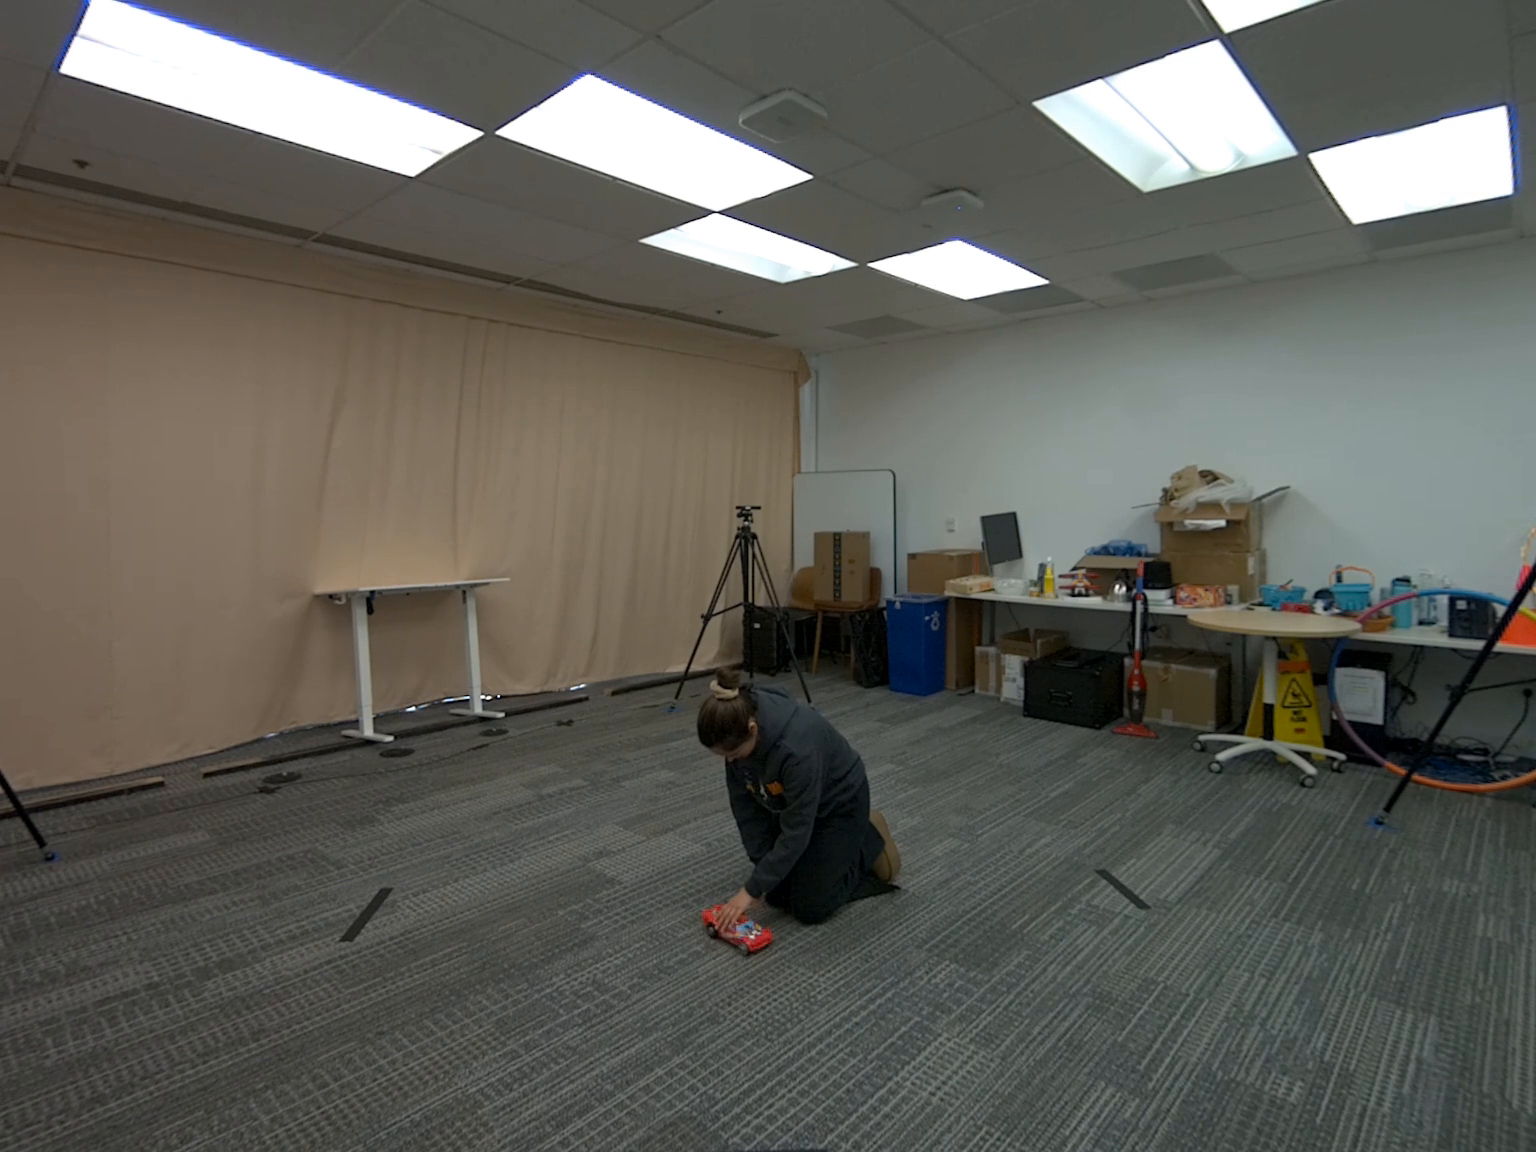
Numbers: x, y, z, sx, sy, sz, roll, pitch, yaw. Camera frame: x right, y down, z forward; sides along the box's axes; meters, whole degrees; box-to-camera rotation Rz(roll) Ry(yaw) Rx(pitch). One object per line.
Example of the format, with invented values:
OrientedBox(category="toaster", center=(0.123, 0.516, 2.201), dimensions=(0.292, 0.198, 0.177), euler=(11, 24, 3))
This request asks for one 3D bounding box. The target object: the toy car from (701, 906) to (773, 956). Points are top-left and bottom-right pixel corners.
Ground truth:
OrientedBox(category="toy car", center=(-0.083, 1.131, 2.715), dimensions=(0.126, 0.083, 0.264), euler=(-1, 17, -39))
